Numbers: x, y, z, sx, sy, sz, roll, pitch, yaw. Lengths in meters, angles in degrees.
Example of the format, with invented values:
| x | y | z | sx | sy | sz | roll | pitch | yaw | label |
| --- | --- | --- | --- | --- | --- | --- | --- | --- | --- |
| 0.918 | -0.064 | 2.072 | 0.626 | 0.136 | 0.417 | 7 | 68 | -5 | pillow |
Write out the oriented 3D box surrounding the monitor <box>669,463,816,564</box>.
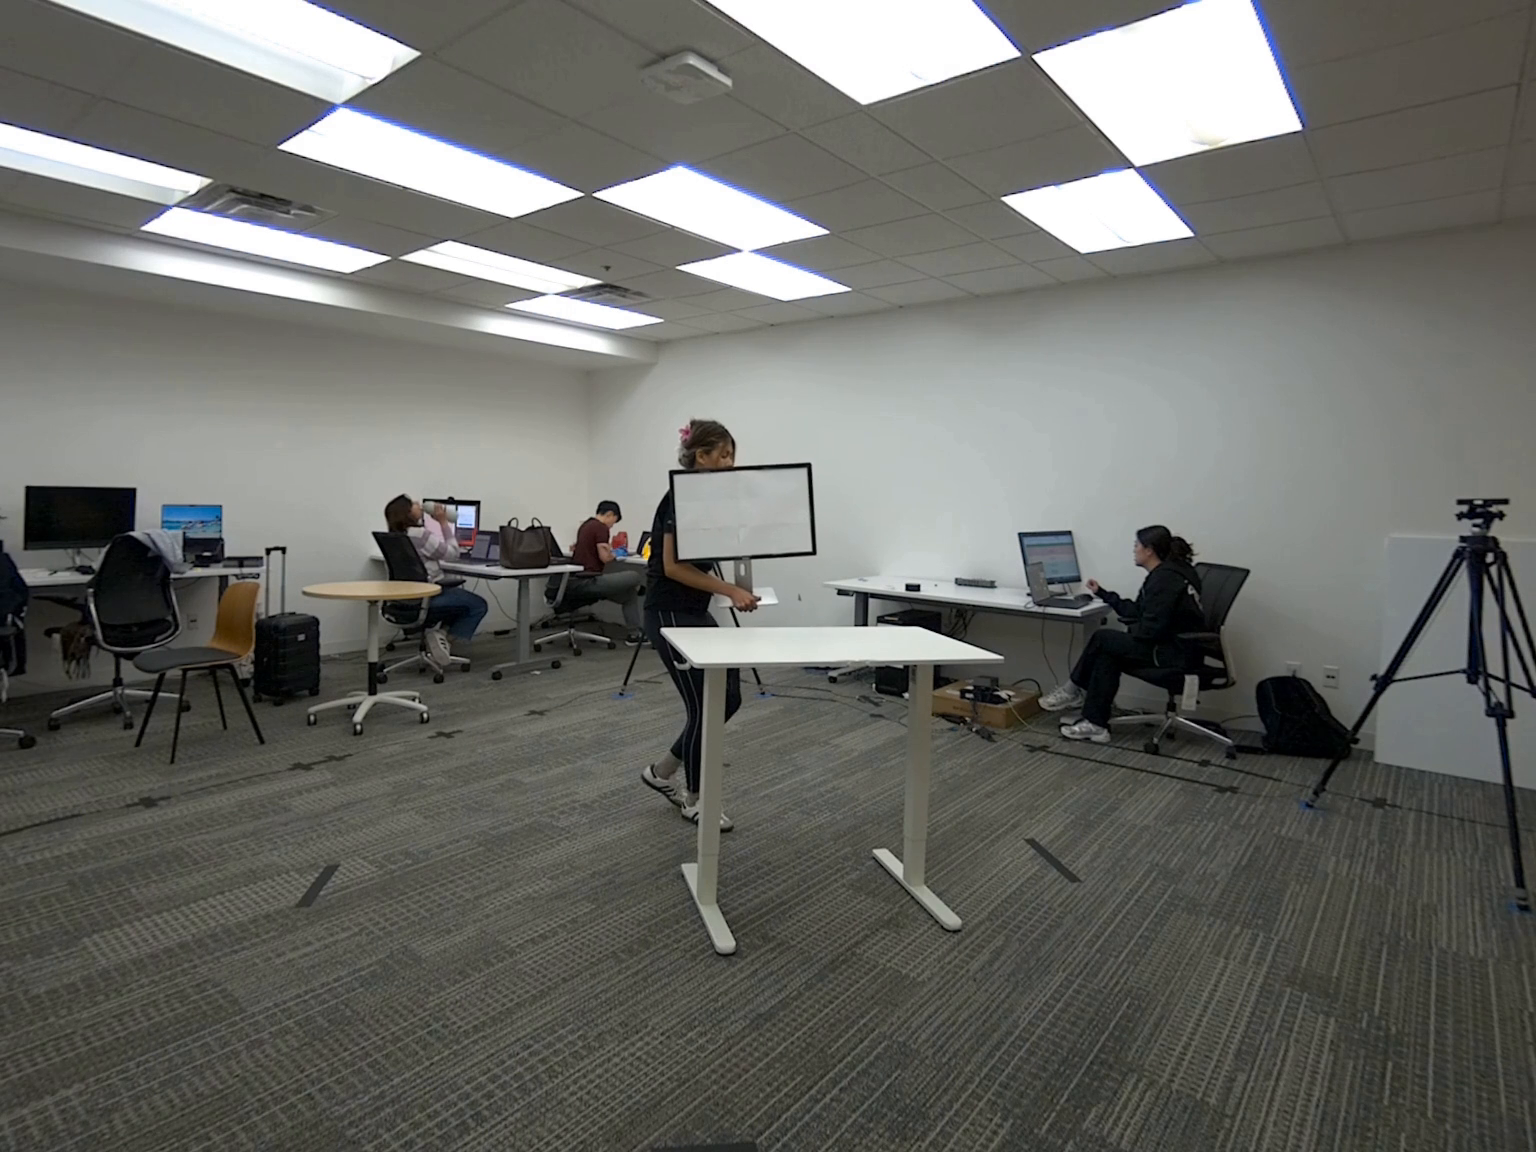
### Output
| x | y | z | sx | sy | sz | roll | pitch | yaw | label |
| --- | --- | --- | --- | --- | --- | --- | --- | --- | --- |
| -0.102 | -0.167 | 3.374 | 0.536 | 0.516 | 0.190 | -4 | 11 | -5 | monitor |
